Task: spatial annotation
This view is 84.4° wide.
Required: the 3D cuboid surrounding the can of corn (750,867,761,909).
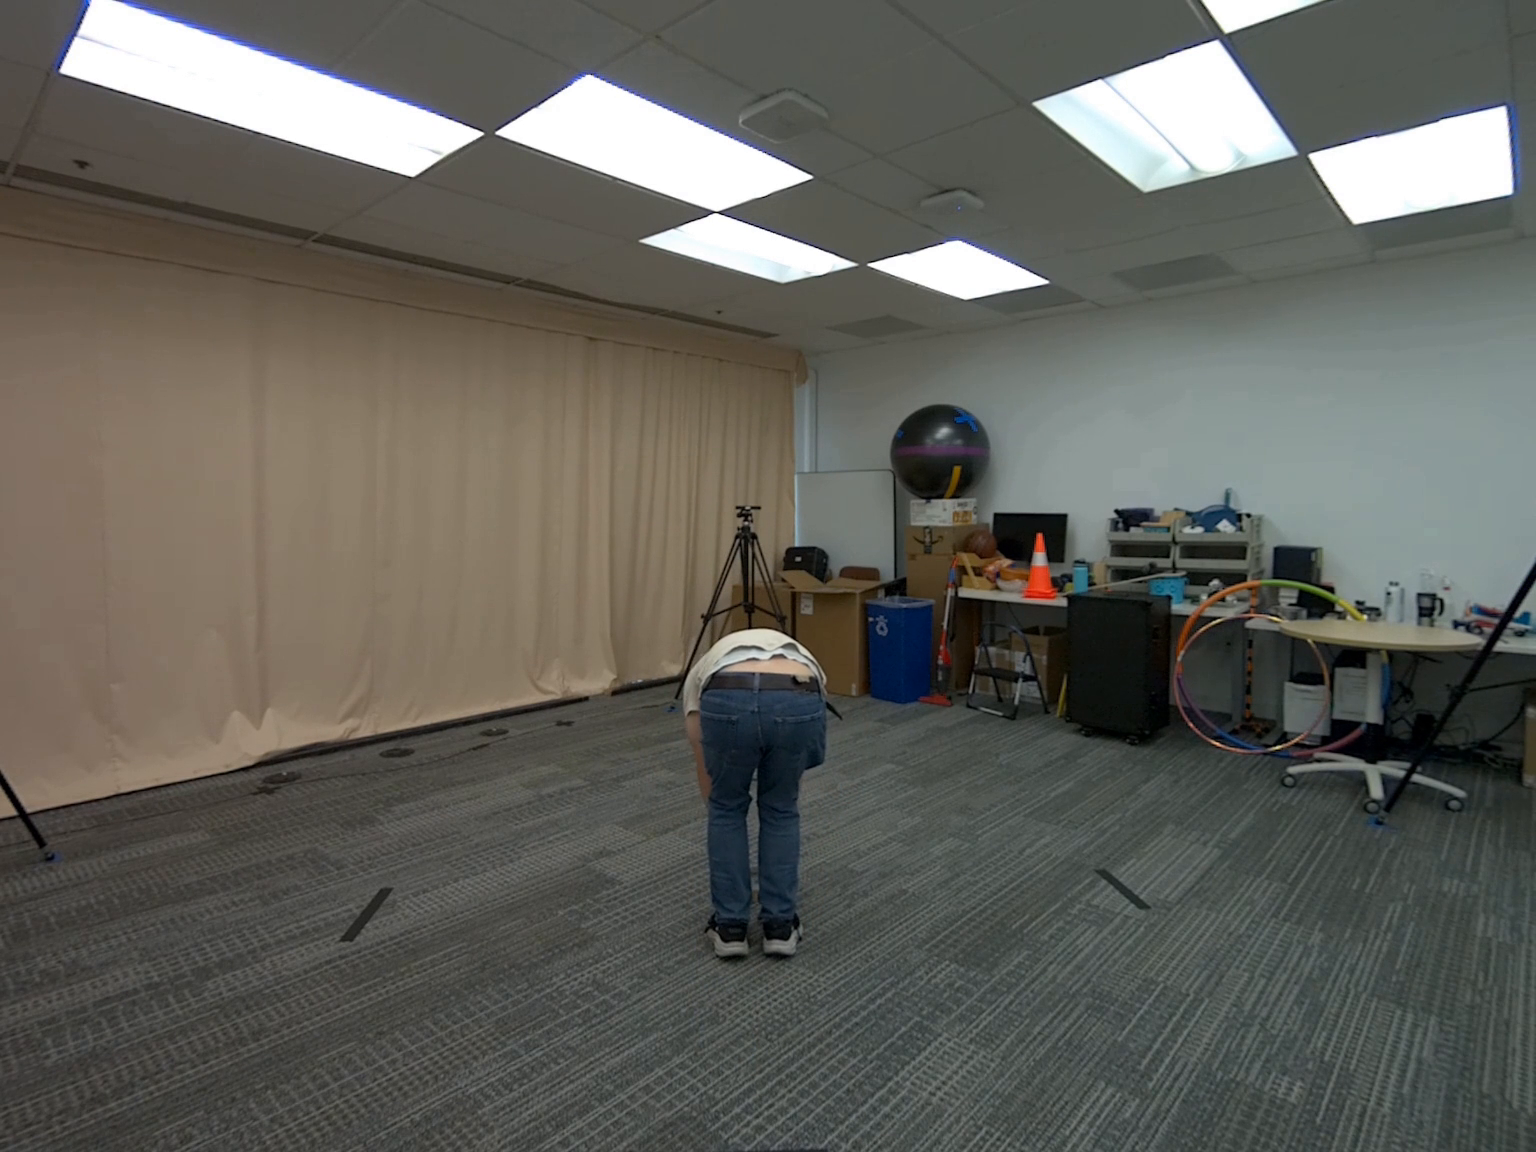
[{"bbox_3d":[-0.038,1.099,2.989,0.074,0.110,0.075,2,8,-2],"label":"can of corn"}]
